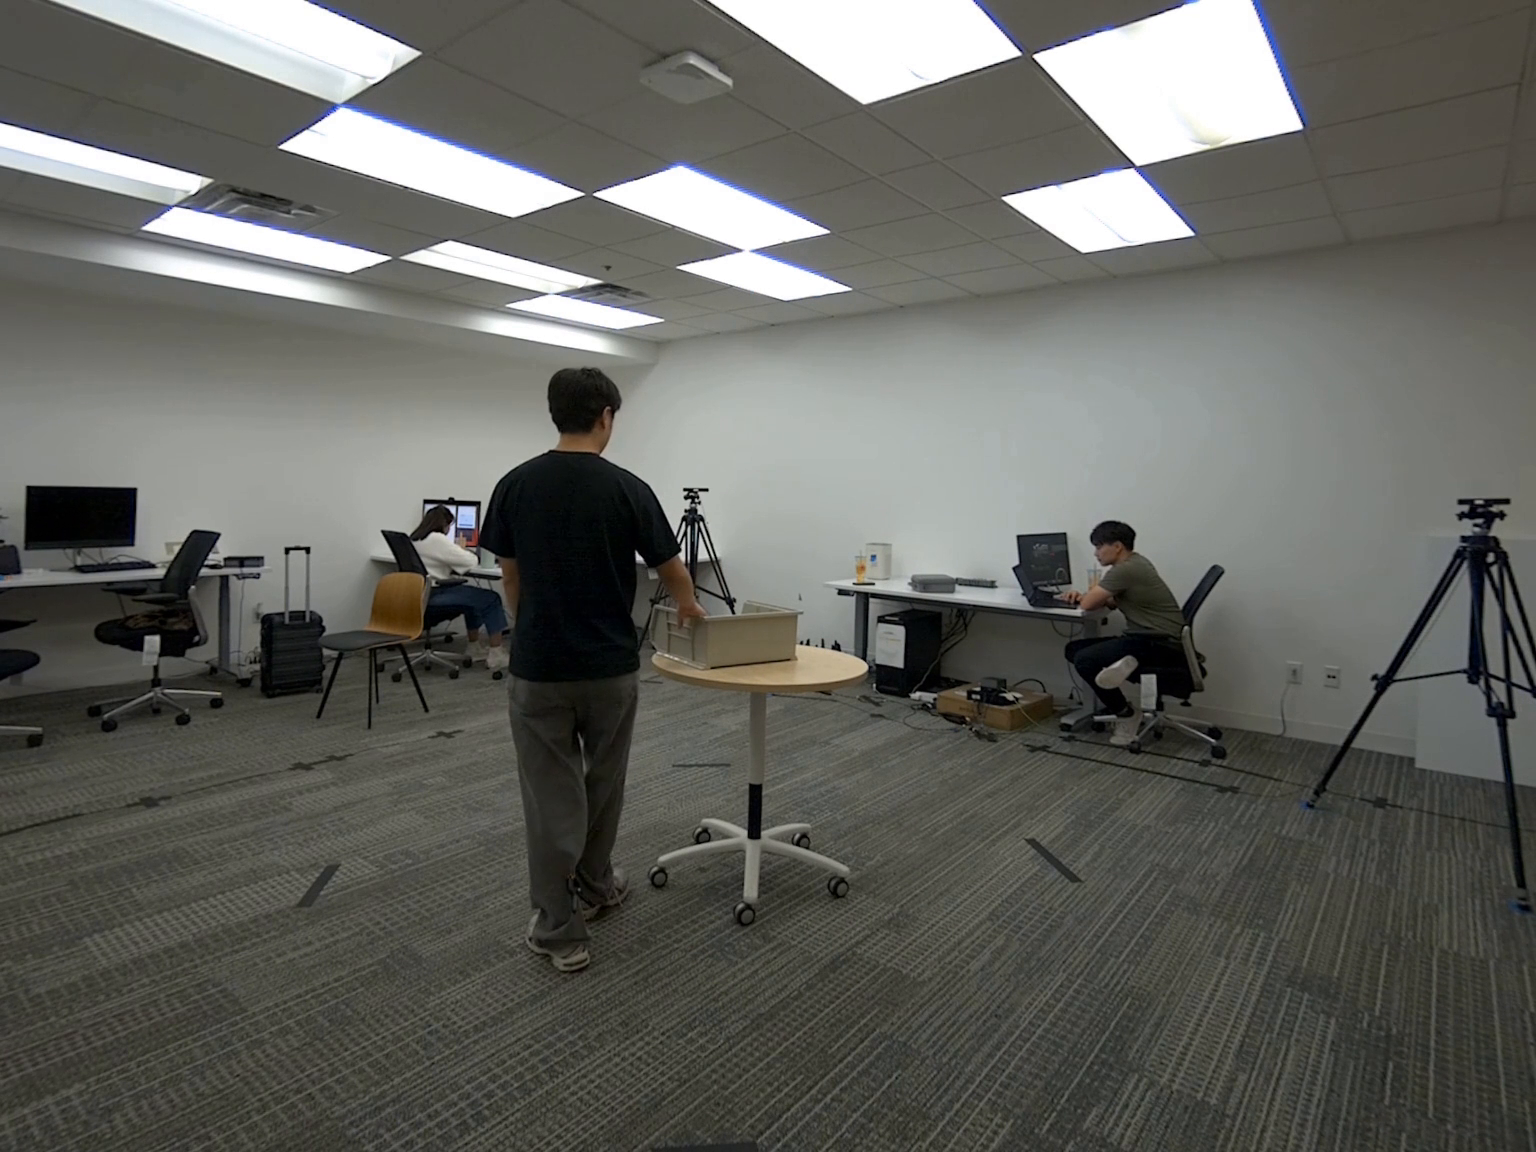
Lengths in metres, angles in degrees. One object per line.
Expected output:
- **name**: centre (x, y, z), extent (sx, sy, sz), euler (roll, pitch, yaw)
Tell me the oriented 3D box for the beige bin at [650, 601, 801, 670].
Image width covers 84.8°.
- **beige bin**: centre (-0.171, 0.200, 3.082), extent (0.410, 0.188, 0.390), euler (-1, 7, -36)
